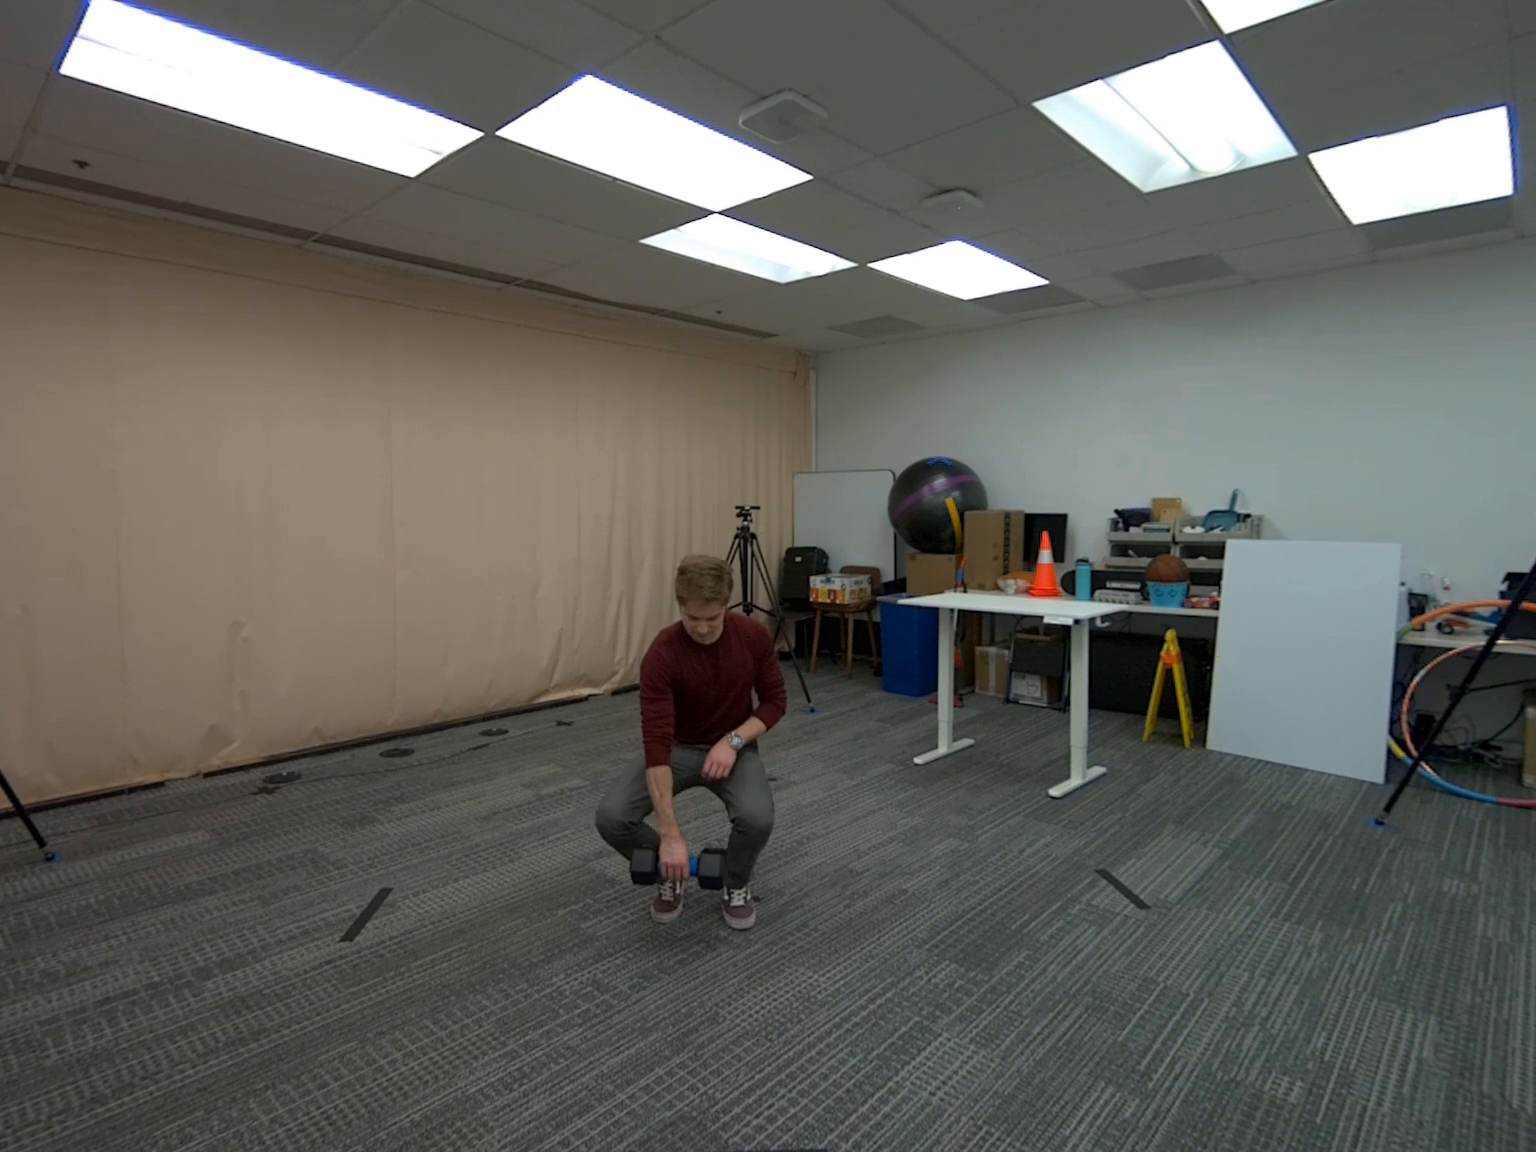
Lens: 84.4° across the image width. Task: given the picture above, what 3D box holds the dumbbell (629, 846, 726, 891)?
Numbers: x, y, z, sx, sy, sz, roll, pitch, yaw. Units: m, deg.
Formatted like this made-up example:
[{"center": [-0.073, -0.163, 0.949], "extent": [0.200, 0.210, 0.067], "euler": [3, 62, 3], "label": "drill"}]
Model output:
[{"center": [-0.272, 0.882, 2.591], "extent": [0.297, 0.124, 0.106], "euler": [0, -31, 10], "label": "dumbbell"}]
